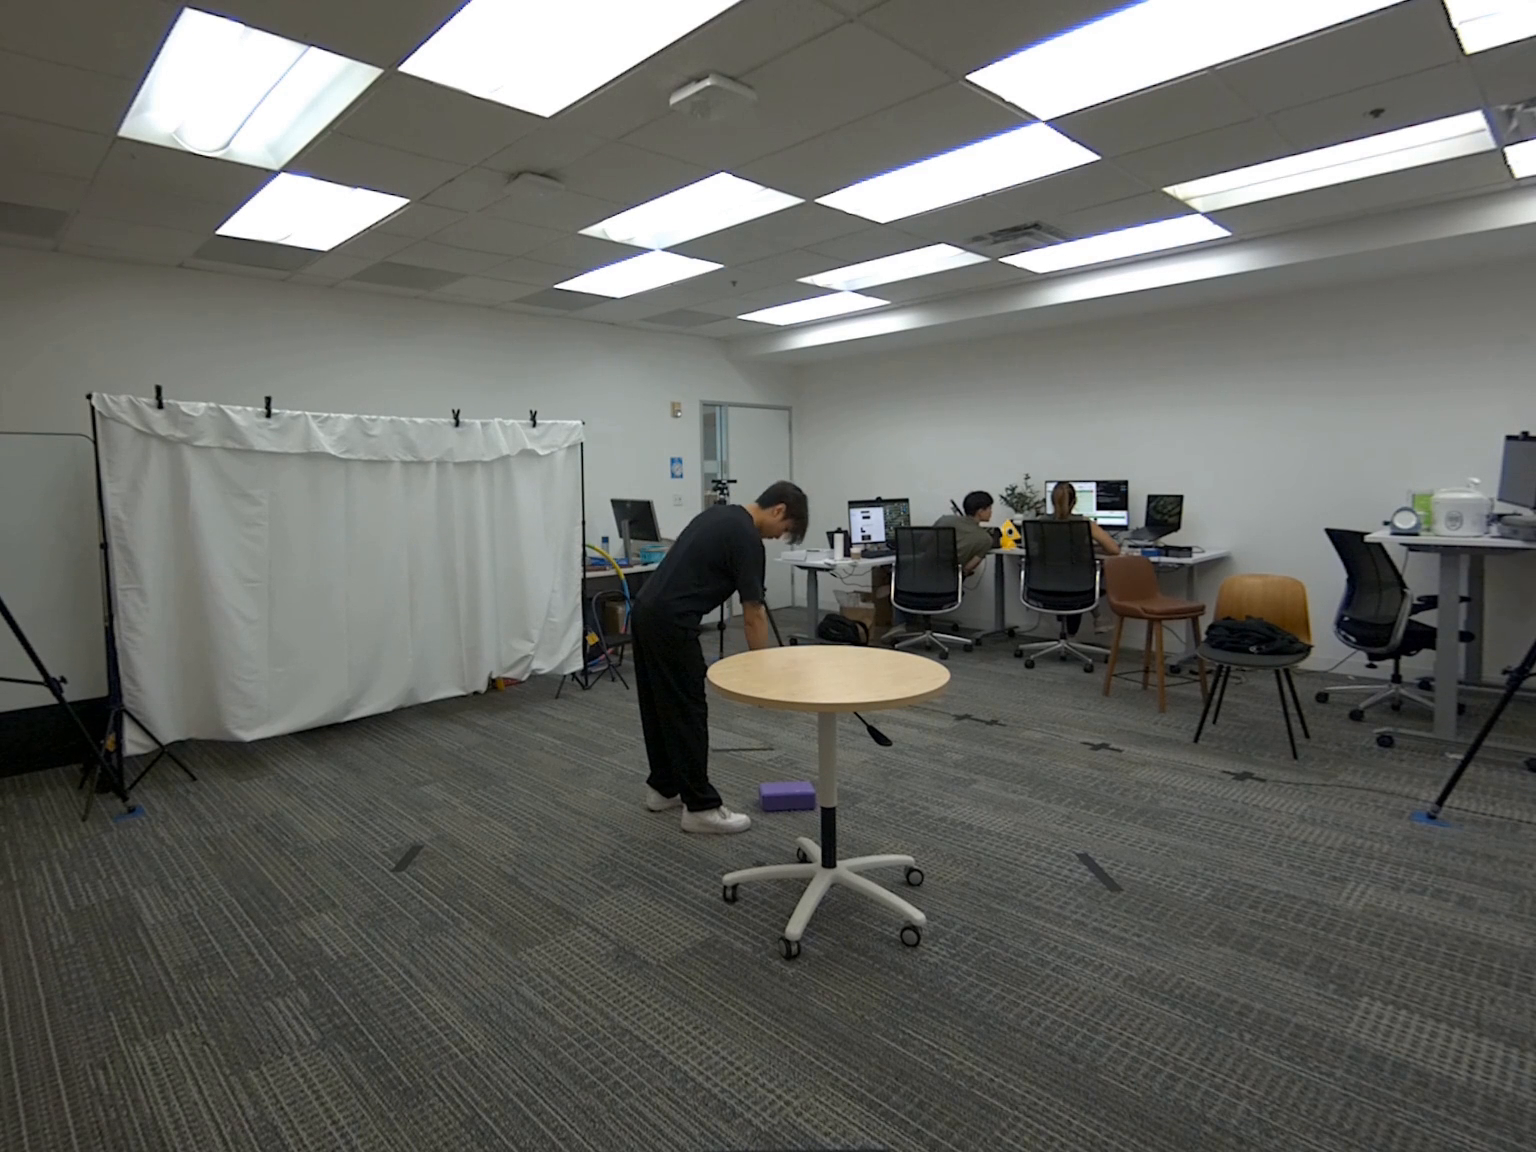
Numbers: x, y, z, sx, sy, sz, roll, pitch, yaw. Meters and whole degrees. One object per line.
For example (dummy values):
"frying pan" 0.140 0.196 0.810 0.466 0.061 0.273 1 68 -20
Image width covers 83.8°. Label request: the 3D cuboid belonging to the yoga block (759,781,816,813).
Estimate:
"yoga block" 0.076 0.938 3.664 0.228 0.076 0.150 -1 7 -5
